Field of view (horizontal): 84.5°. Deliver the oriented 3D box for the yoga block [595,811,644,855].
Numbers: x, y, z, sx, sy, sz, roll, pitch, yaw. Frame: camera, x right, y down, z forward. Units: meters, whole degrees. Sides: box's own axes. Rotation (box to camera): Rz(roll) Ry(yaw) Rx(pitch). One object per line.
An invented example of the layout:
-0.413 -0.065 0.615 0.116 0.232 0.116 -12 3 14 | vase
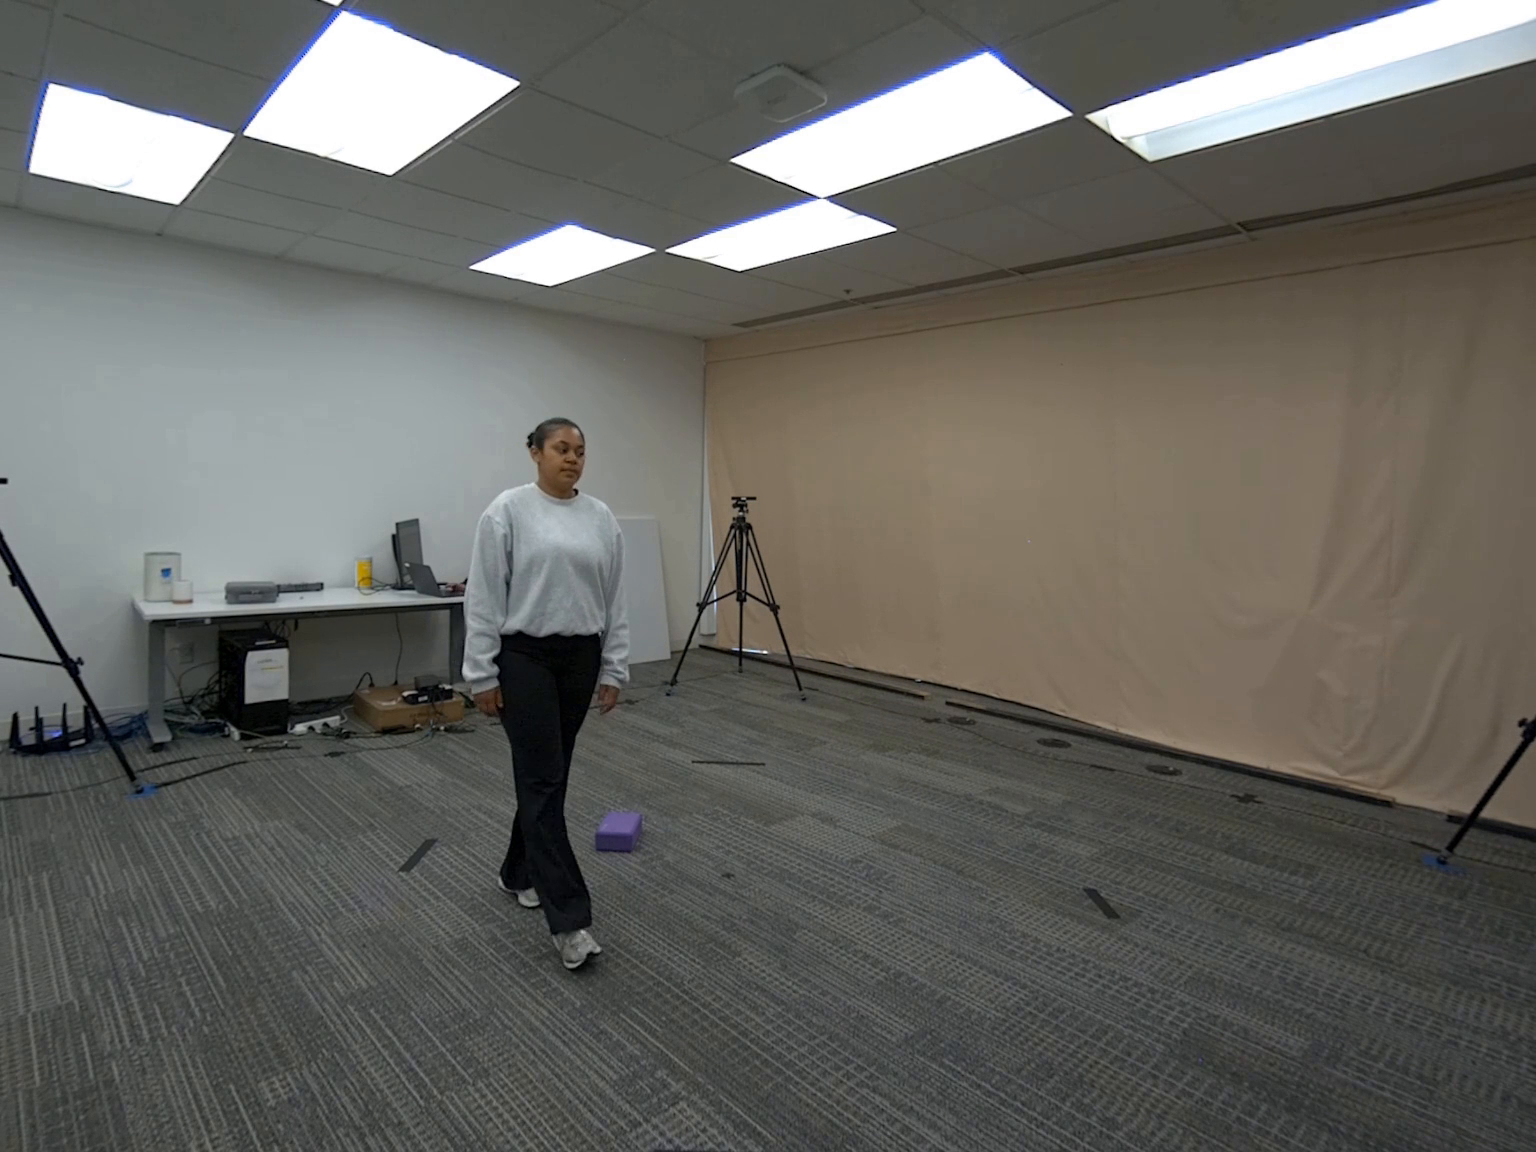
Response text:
-0.609 1.029 3.397 0.149 0.076 0.229 3 5 3 | yoga block
